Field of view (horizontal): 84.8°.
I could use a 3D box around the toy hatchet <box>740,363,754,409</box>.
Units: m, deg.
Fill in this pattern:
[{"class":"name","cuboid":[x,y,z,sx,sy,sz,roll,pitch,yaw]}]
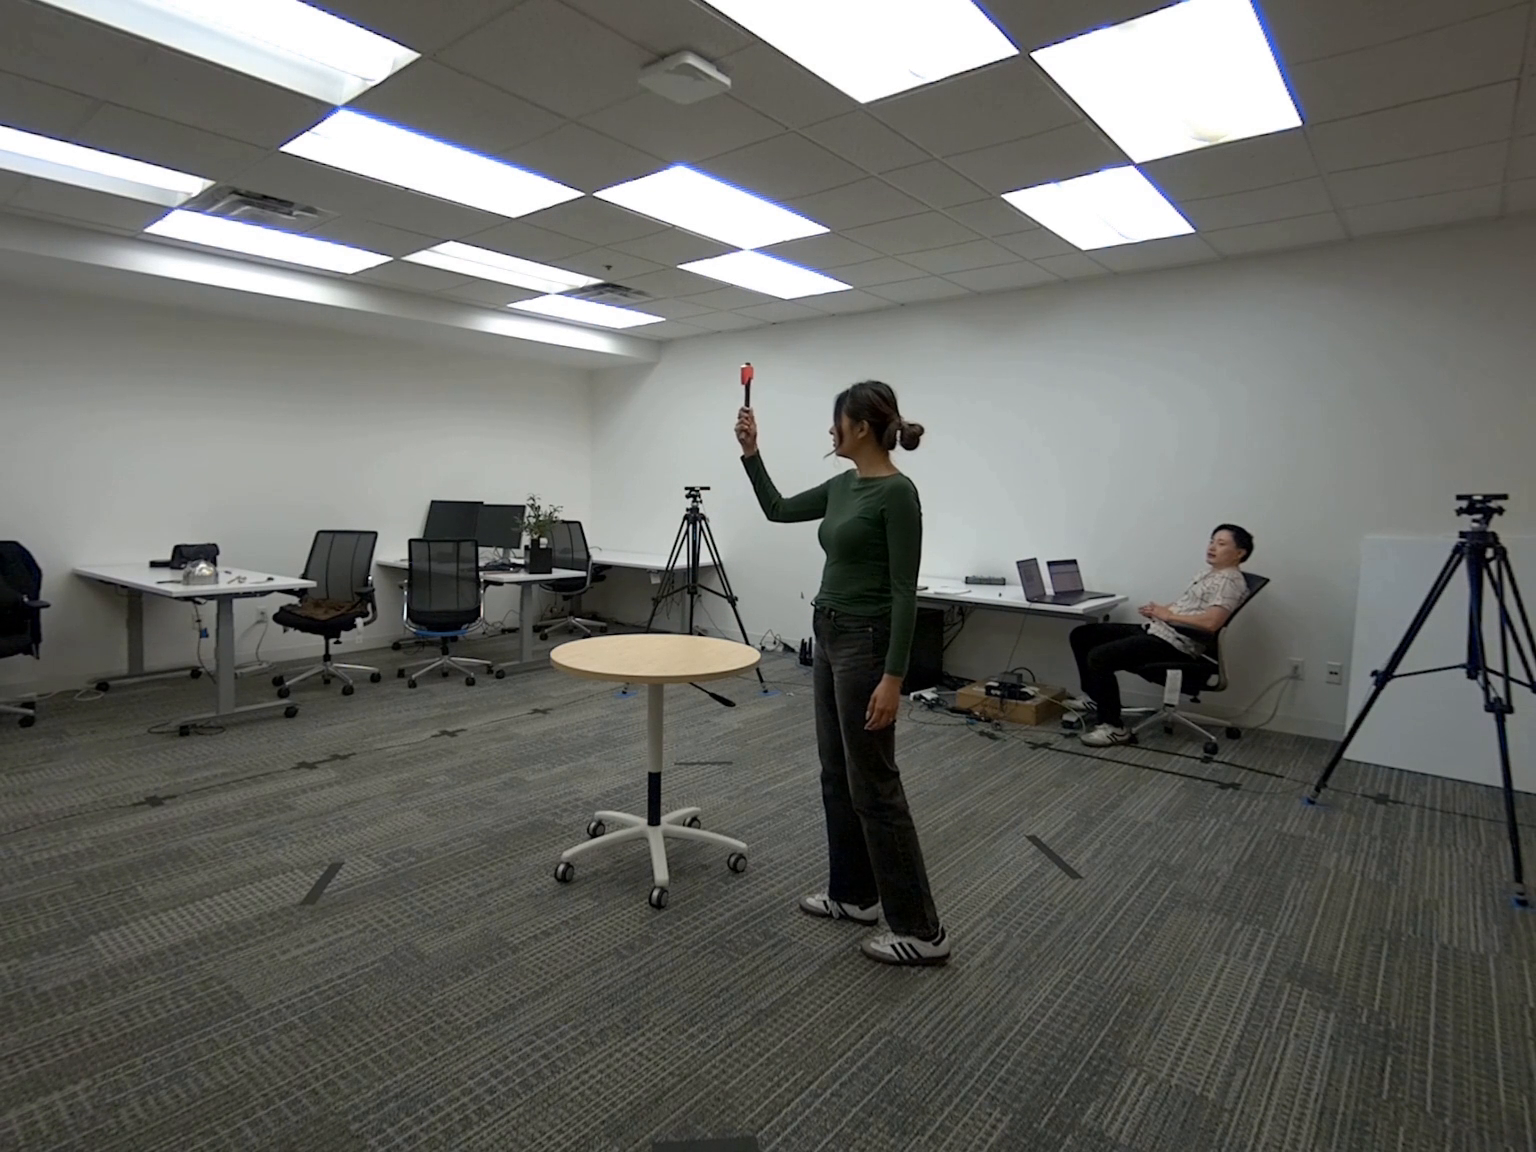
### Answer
[{"class":"toy hatchet","cuboid":[-0.085,-0.581,2.809,0.030,0.273,0.128,2,-13,6]}]
